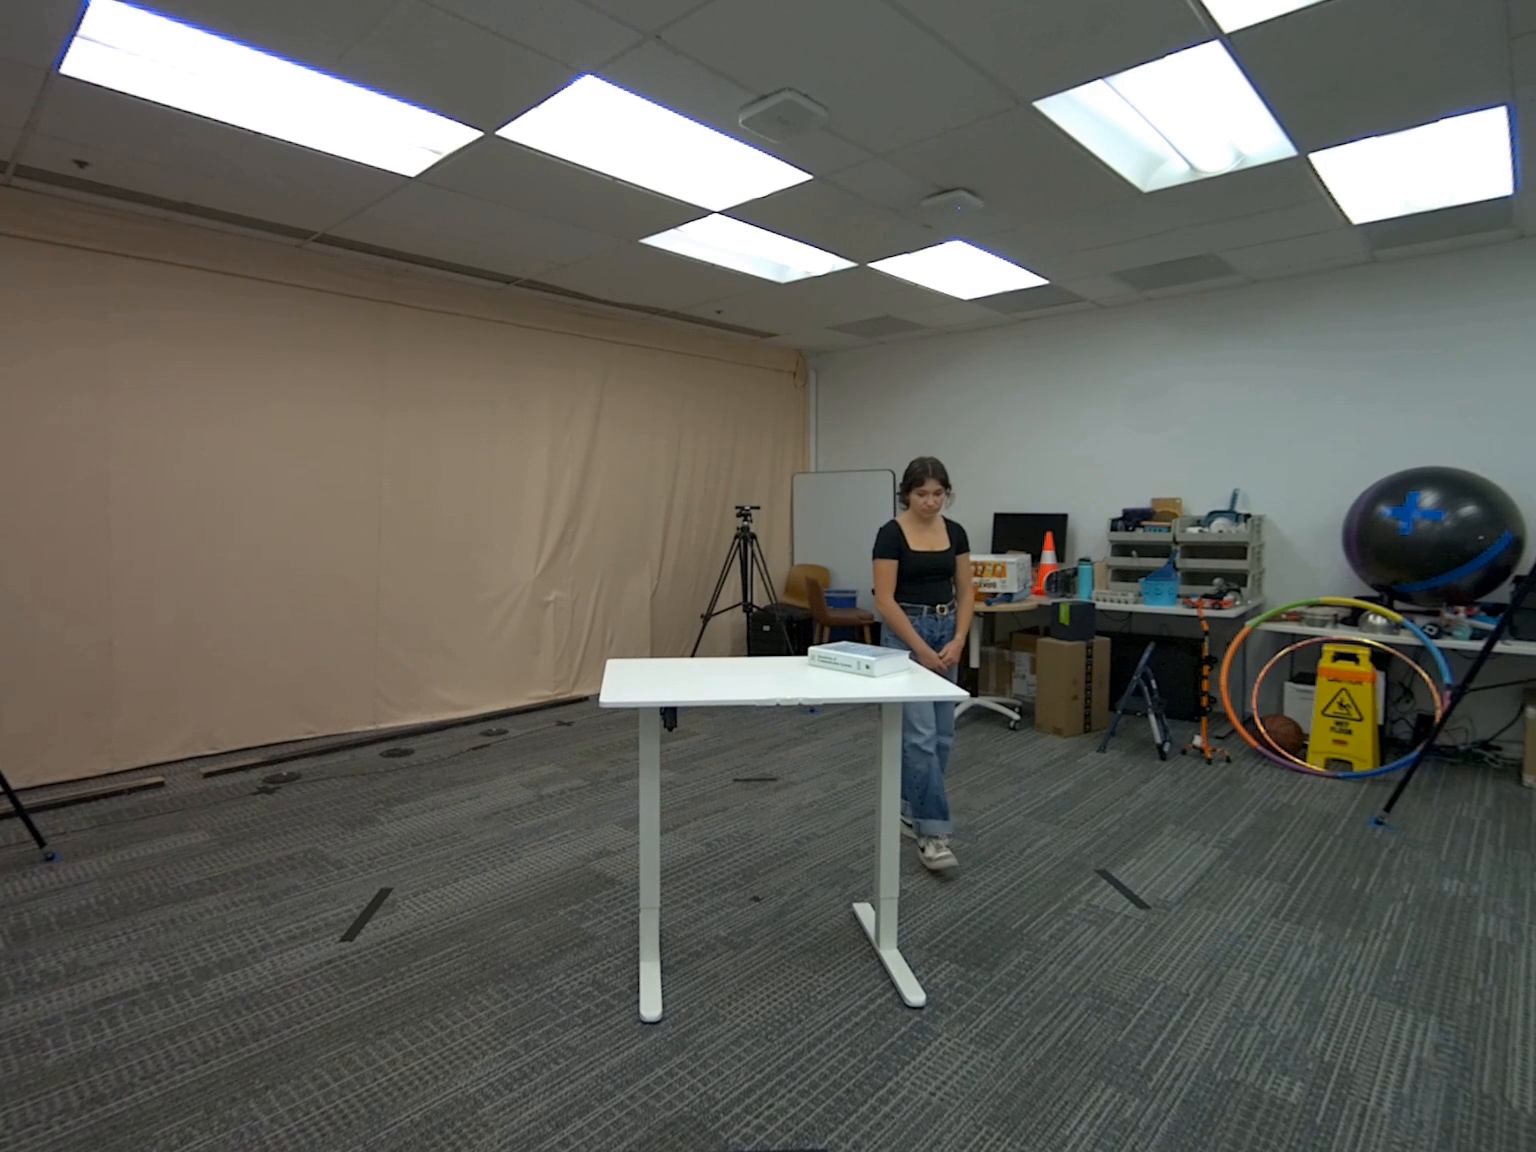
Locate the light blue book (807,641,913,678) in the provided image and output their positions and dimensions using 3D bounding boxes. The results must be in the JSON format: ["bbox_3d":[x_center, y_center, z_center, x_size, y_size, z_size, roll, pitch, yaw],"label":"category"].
[{"bbox_3d":[0.295,0.262,2.656,0.270,0.059,0.185,5,6,44],"label":"light blue book"}]
